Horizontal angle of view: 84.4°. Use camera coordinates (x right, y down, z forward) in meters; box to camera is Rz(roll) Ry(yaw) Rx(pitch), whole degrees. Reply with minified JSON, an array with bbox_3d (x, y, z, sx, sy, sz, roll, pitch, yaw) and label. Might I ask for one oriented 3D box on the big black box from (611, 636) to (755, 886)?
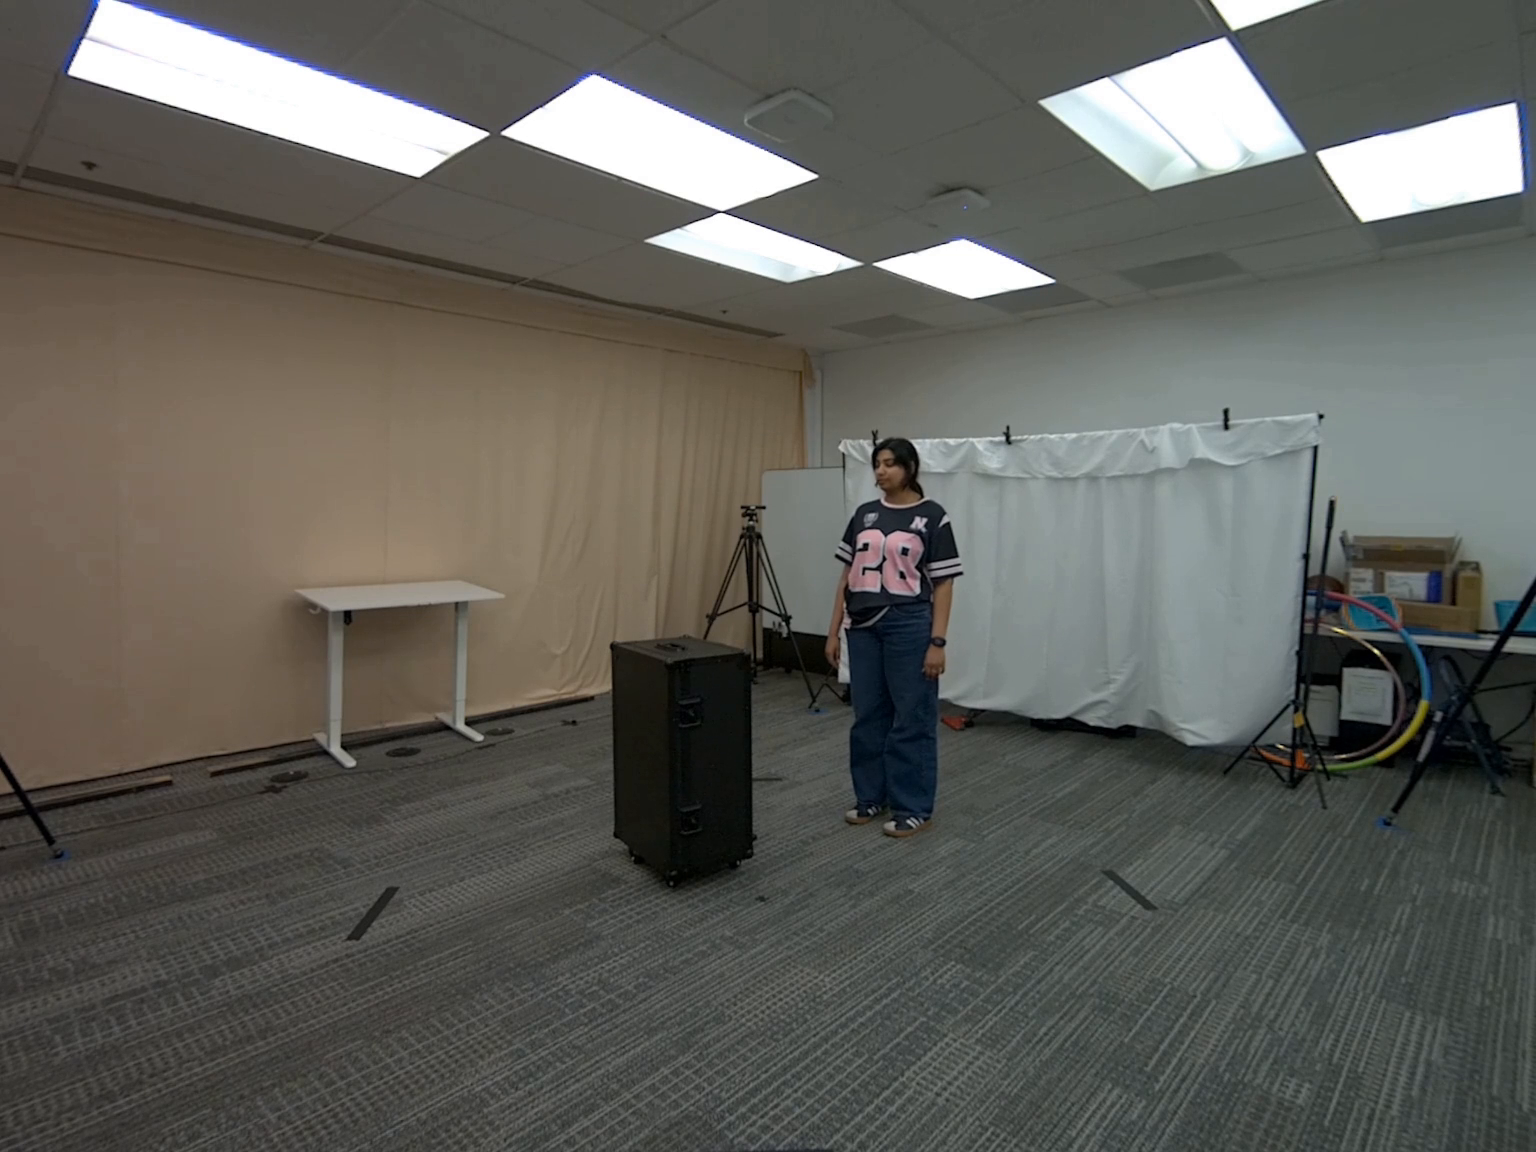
[{"bbox_3d":[-0.339,0.701,3.263,0.374,0.867,0.540,-3,4,-34],"label":"big black box"}]
